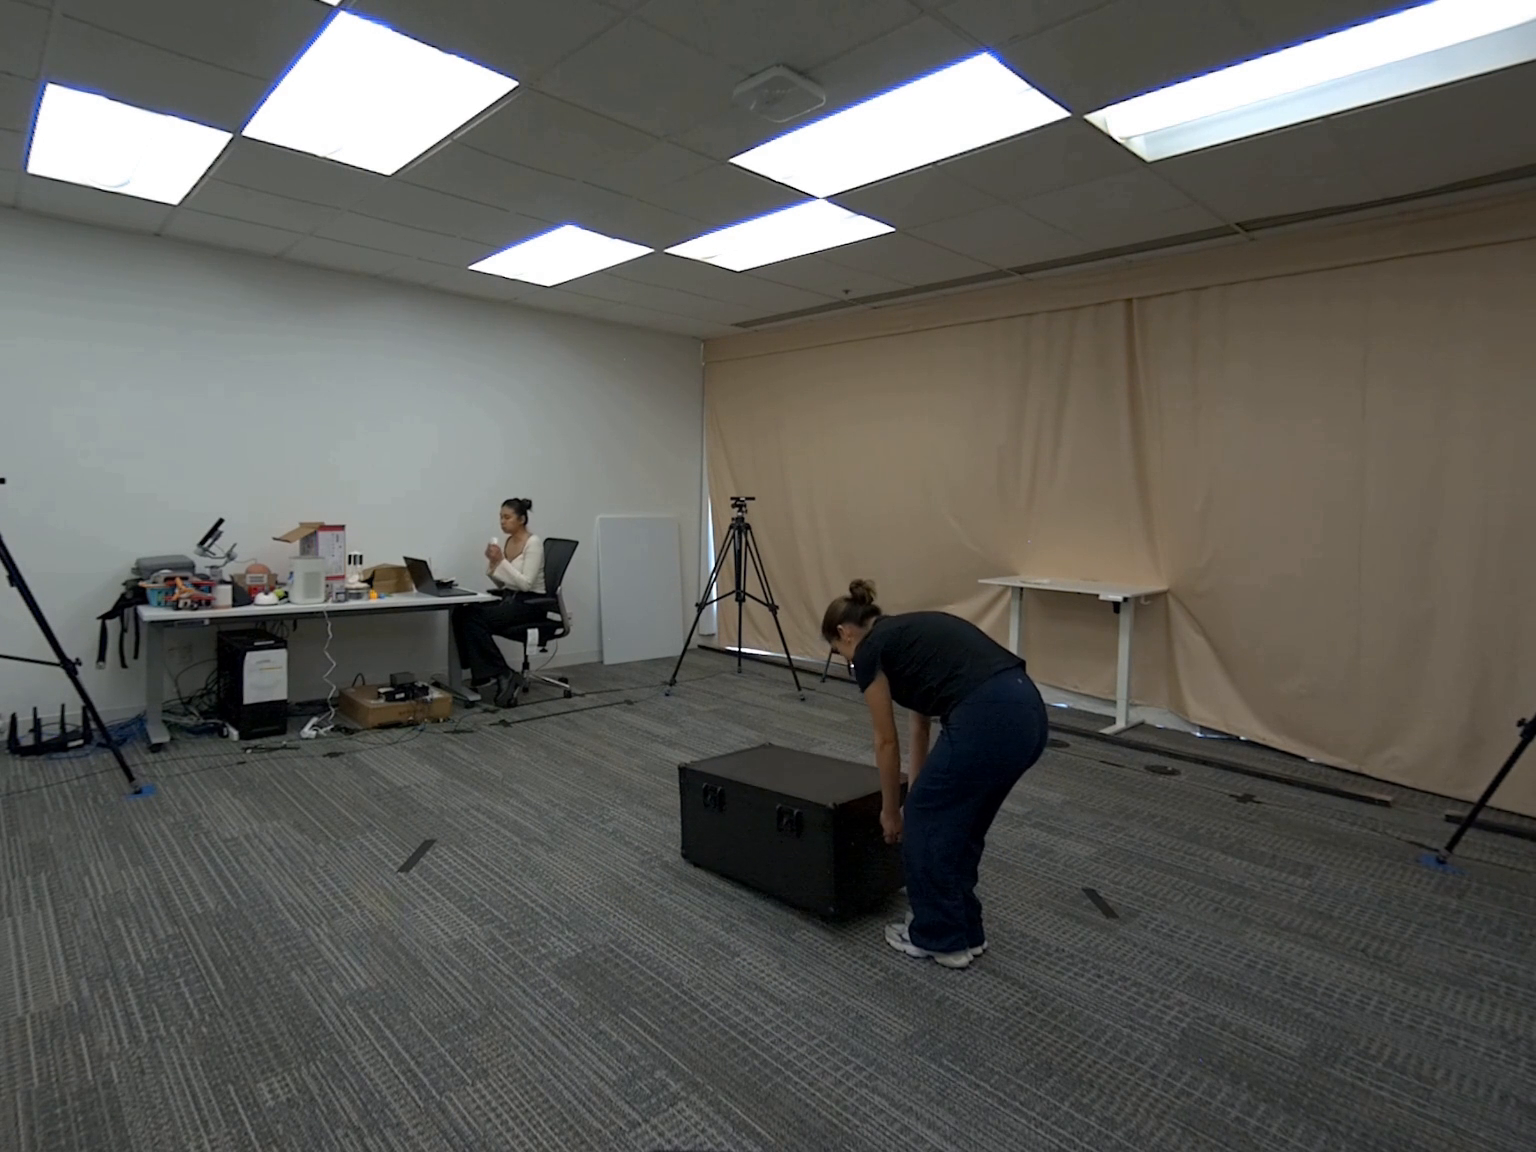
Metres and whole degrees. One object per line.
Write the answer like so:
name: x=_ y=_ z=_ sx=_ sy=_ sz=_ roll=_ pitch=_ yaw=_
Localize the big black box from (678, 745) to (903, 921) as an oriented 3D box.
big black box: x=0.082 y=0.898 z=3.103 sx=0.509 sy=0.396 sz=0.882 roll=-3 pitch=2 yaw=-44
